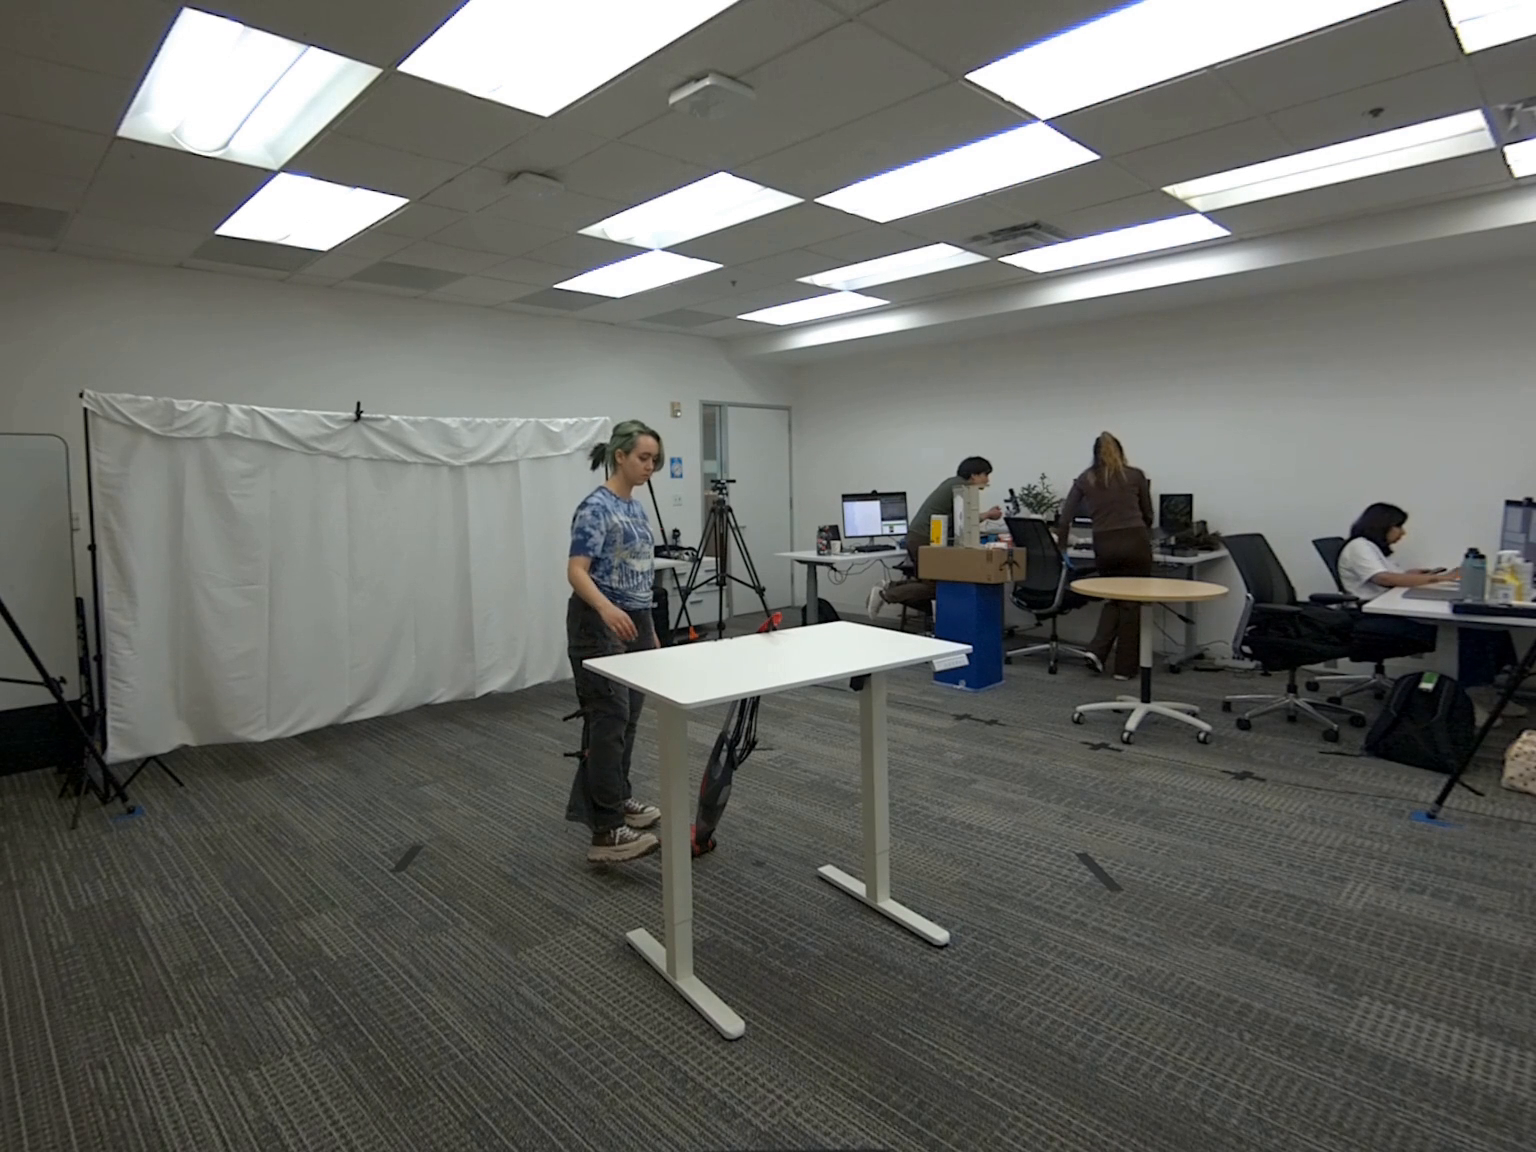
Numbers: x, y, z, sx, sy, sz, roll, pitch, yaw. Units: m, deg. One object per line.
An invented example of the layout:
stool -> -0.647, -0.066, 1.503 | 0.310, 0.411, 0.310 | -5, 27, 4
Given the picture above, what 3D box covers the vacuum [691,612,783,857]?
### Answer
vacuum -> -0.124, 0.579, 3.029 | 0.246, 1.037, 0.149 | -8, 36, -47
